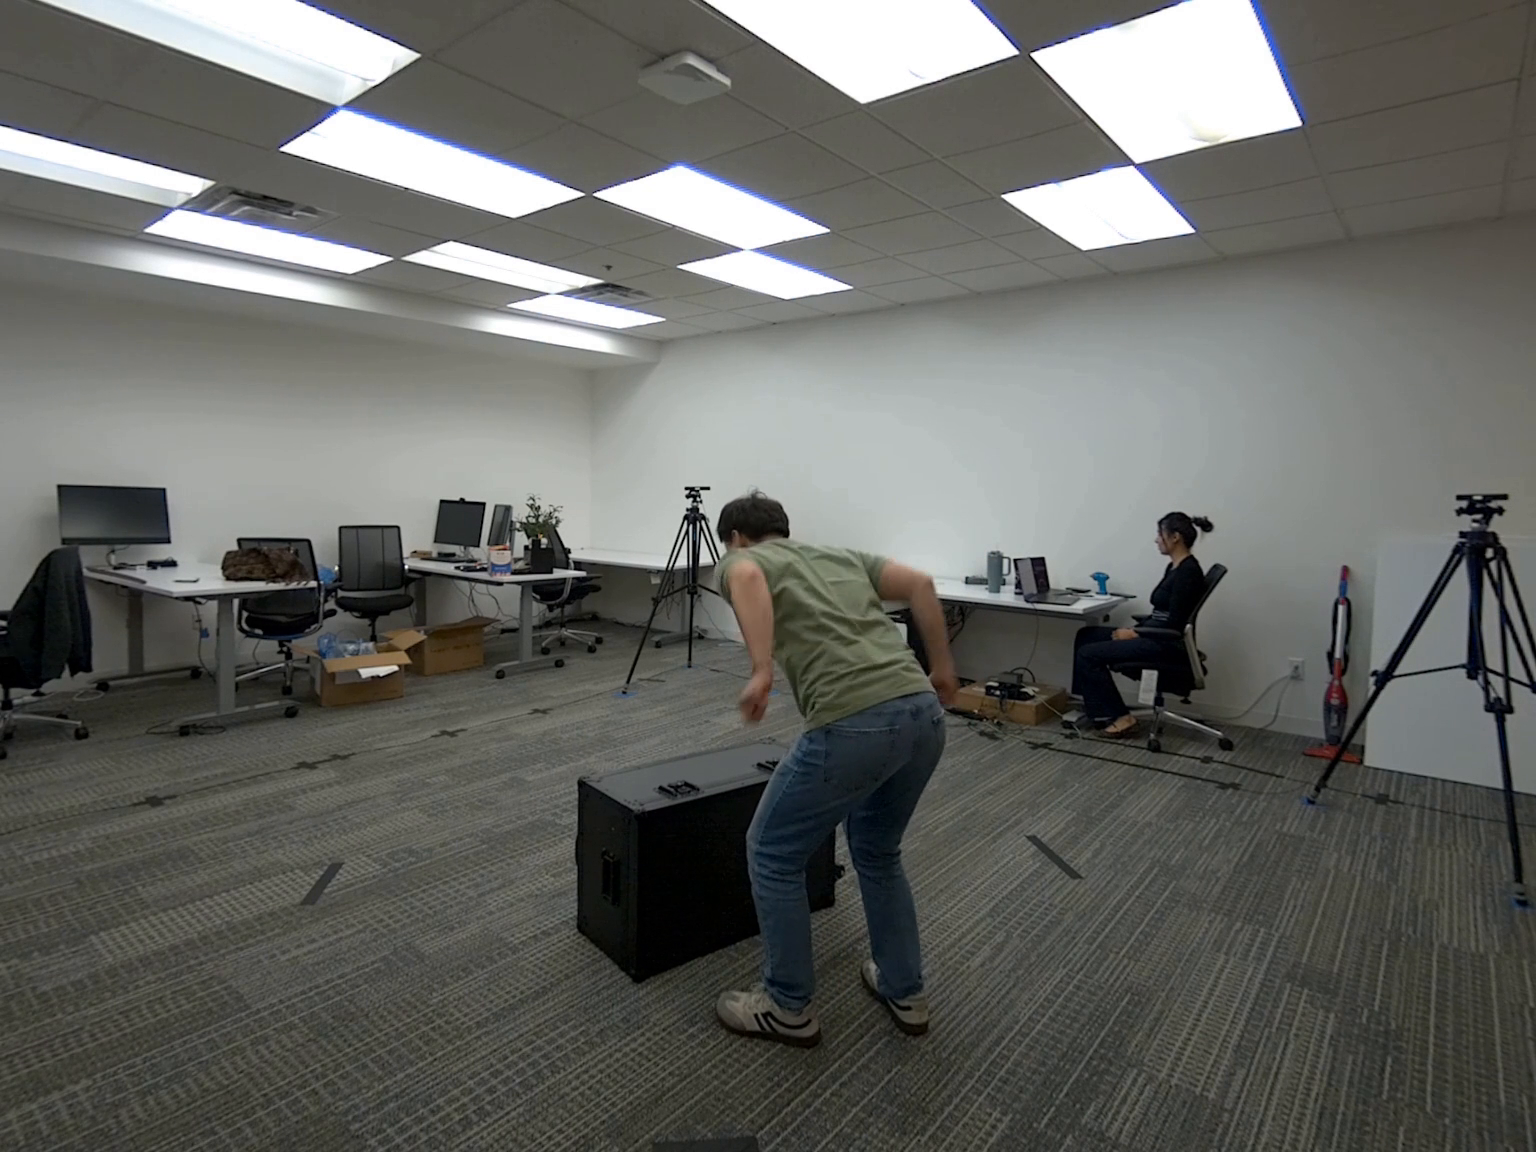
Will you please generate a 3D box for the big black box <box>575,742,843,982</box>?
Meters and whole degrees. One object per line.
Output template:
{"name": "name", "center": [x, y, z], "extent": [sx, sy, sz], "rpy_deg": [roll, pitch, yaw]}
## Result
{"name": "big black box", "center": [-0.174, 0.858, 2.766], "extent": [0.836, 0.520, 0.409], "rpy_deg": [-2, 5, -38]}
